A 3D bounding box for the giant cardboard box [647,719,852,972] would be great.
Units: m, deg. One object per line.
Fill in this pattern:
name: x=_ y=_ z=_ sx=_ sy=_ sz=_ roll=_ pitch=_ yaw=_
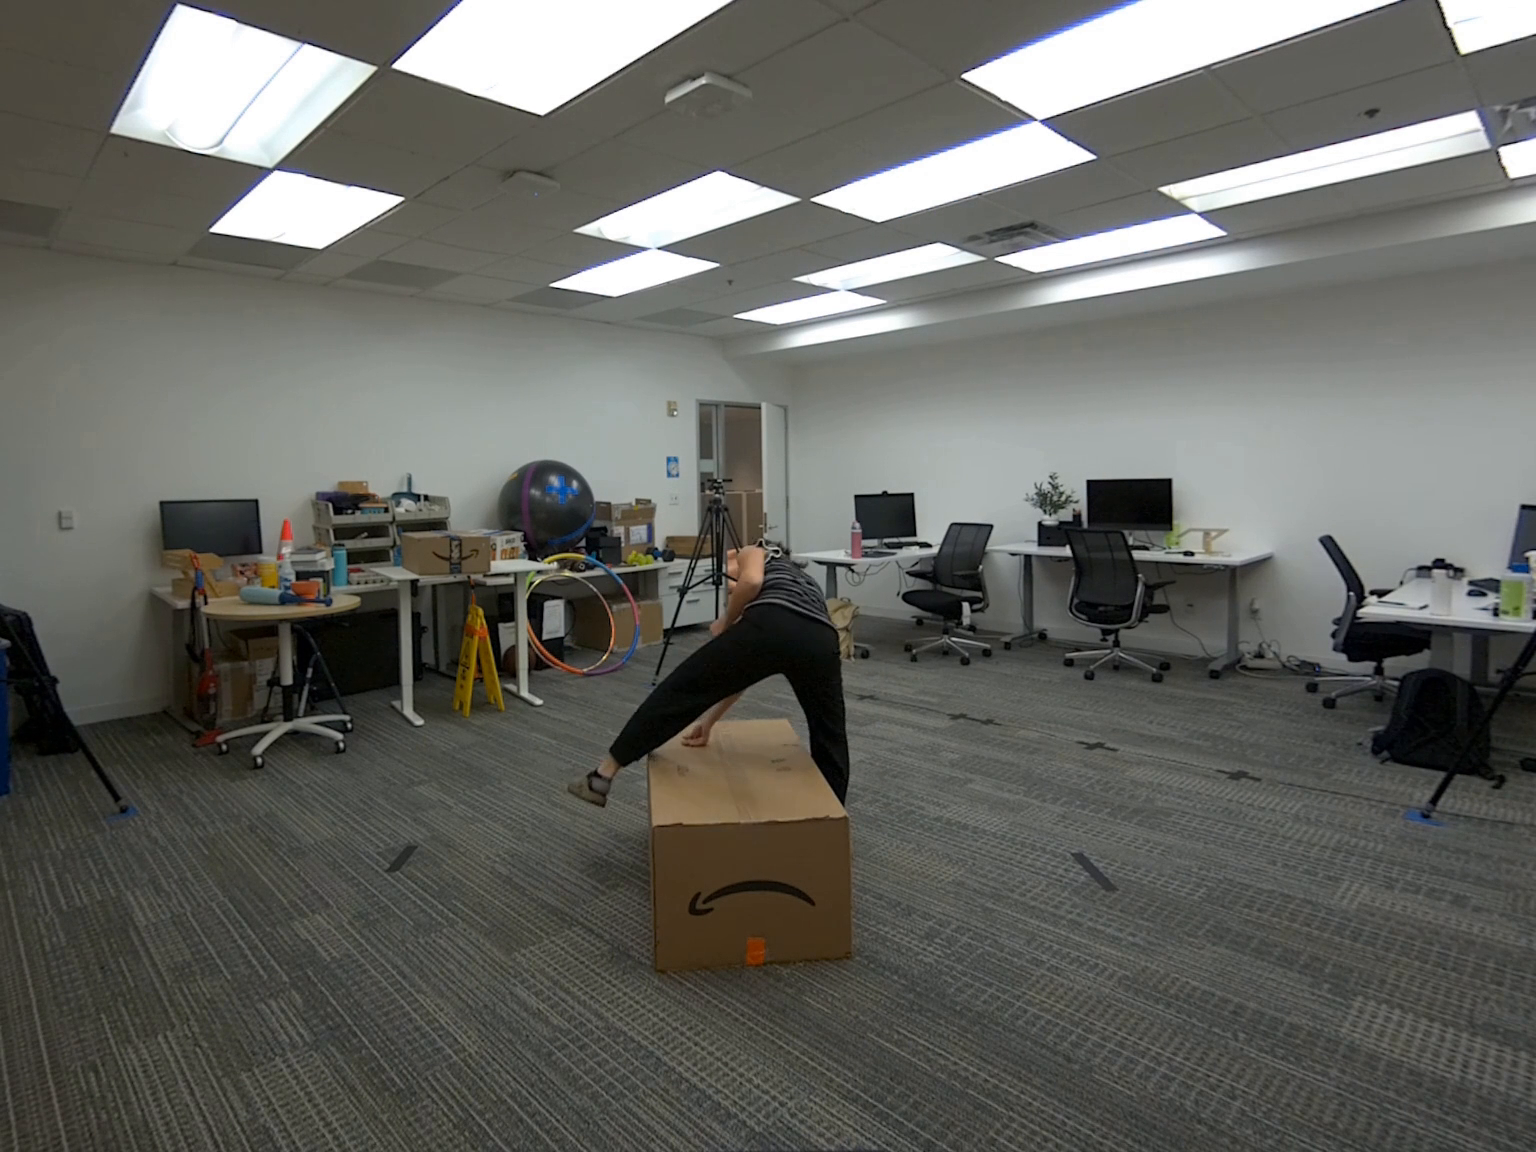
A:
giant cardboard box: x=-0.121 y=0.858 z=2.947 sx=0.574 sy=0.424 sz=1.037 roll=-2 pitch=6 yaw=-8
